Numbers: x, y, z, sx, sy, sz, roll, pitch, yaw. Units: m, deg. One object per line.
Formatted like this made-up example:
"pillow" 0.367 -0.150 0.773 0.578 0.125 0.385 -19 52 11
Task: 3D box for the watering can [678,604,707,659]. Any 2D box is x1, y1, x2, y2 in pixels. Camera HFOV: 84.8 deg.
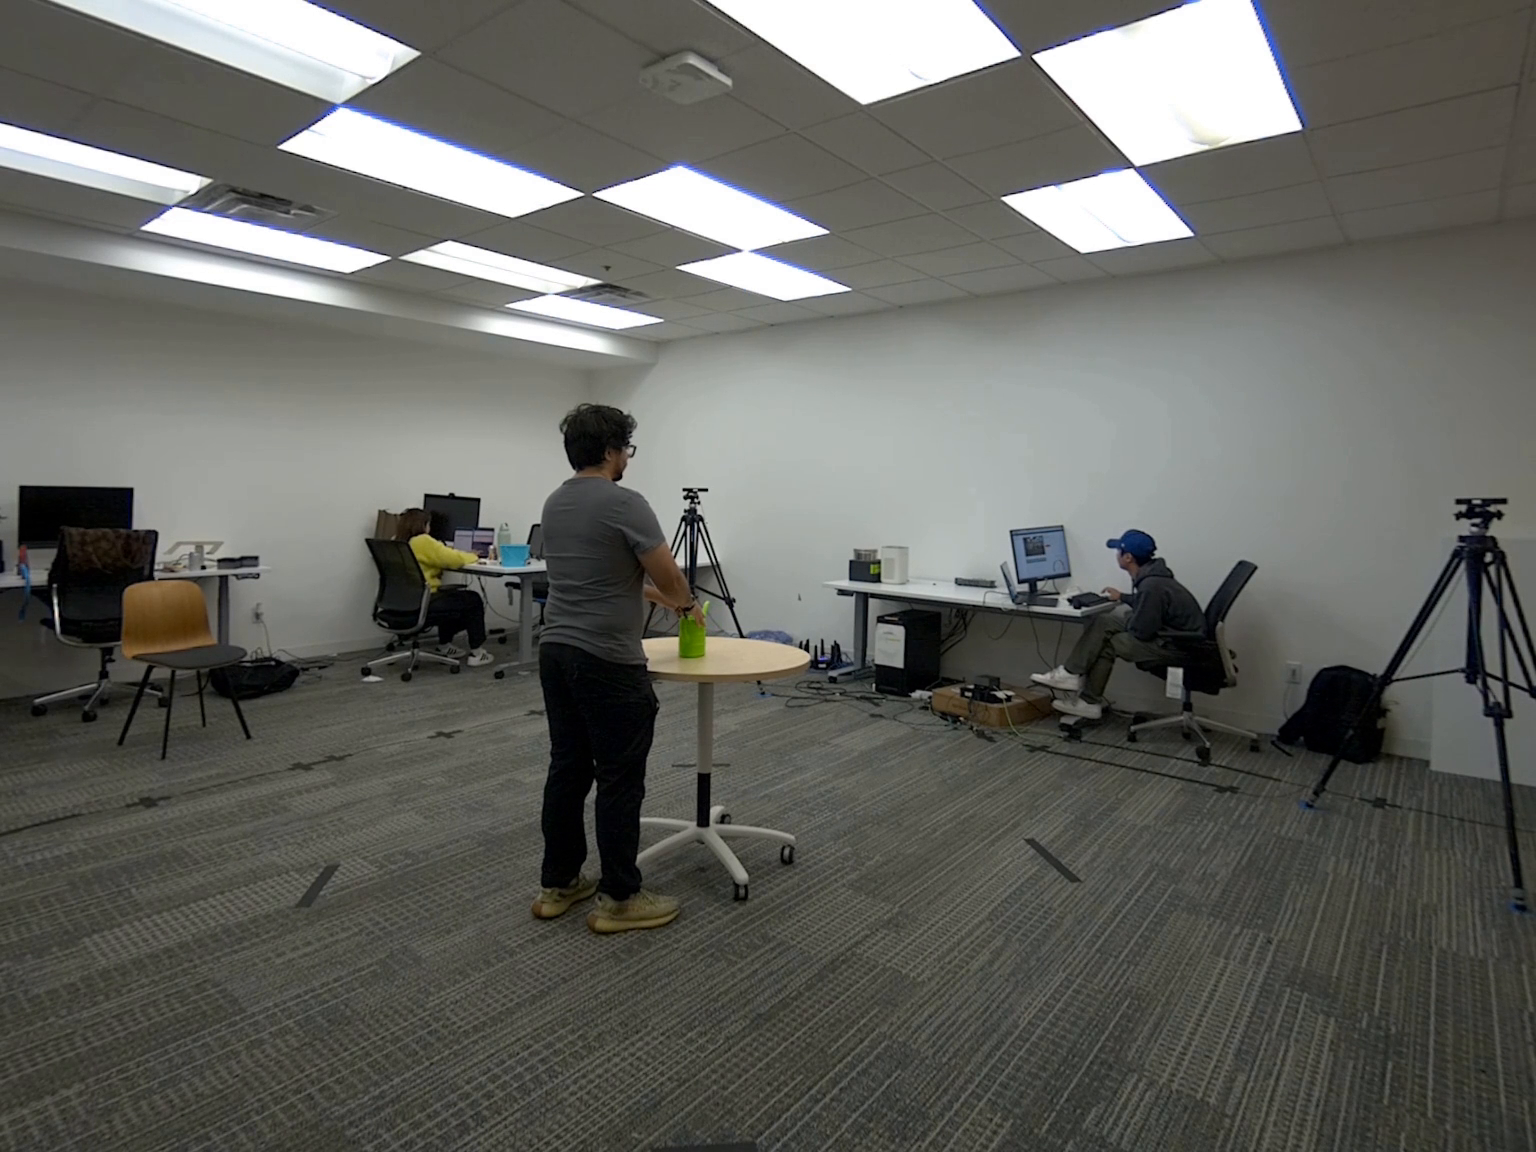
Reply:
"watering can" -0.262 0.196 3.135 0.101 0.176 0.271 3 8 32
